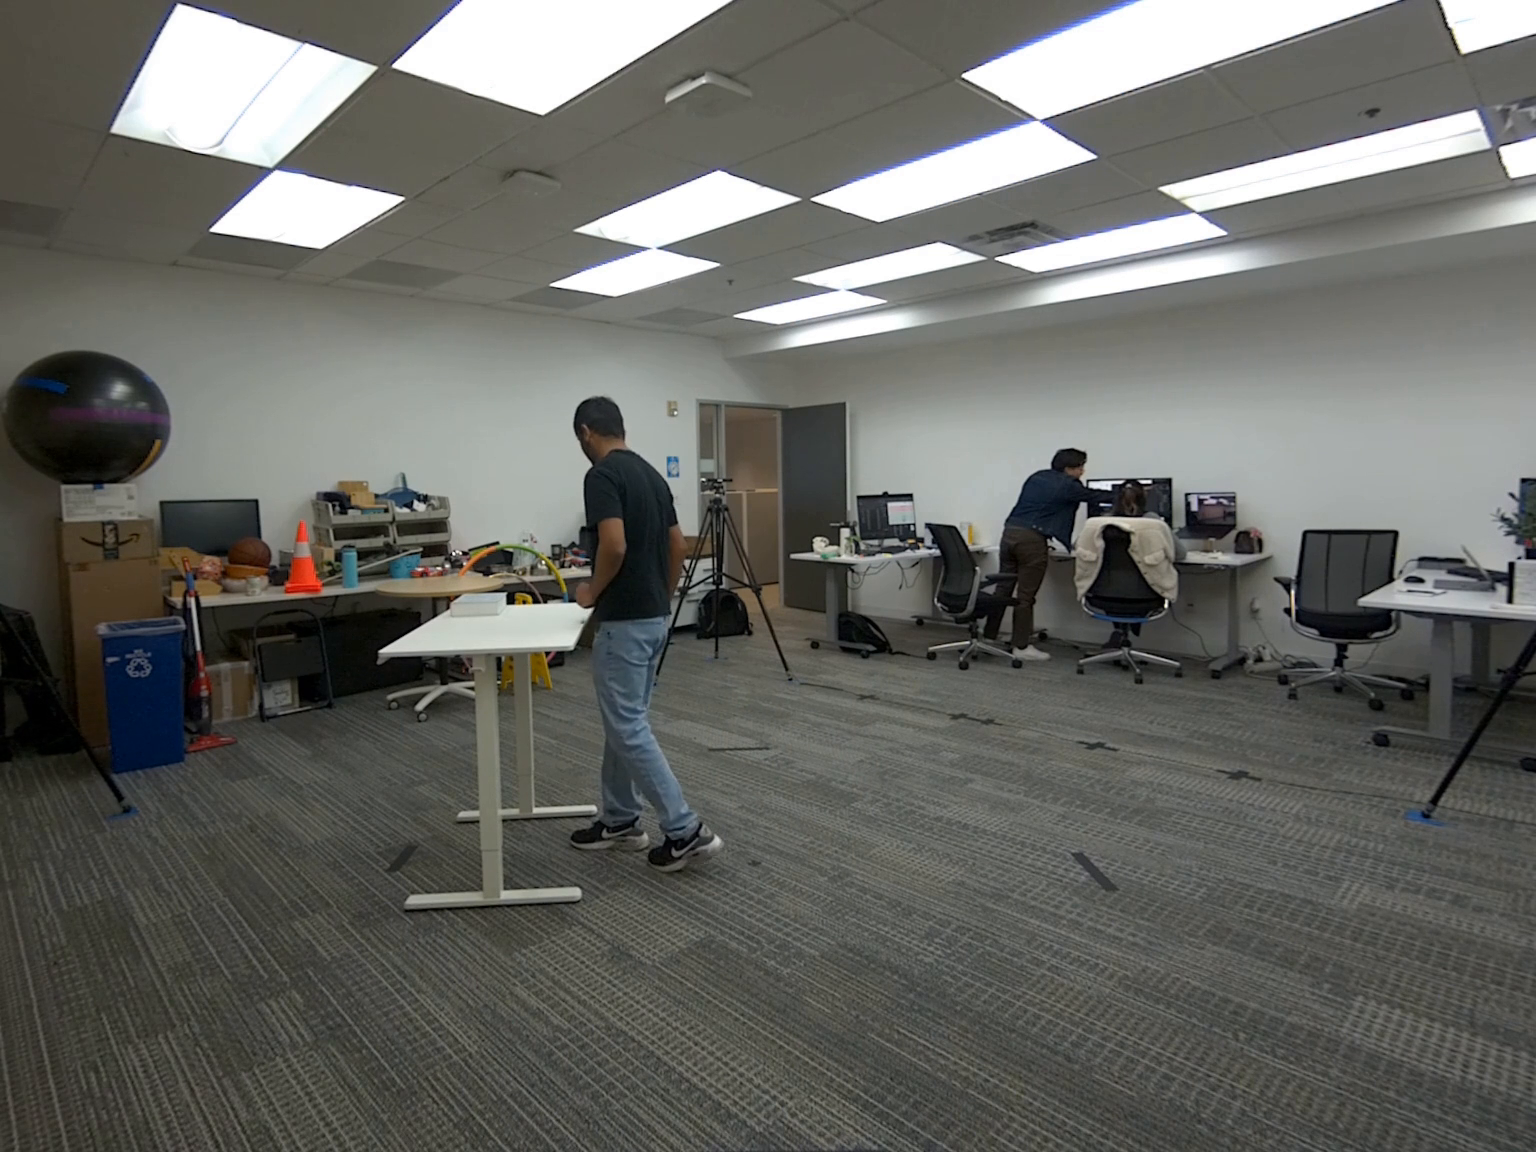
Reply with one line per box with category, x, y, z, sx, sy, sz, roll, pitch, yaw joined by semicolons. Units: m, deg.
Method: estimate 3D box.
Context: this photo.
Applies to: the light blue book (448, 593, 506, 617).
light blue book;-1.169;0.113;3.487;0.190;0.059;0.264;-3;7;-10
